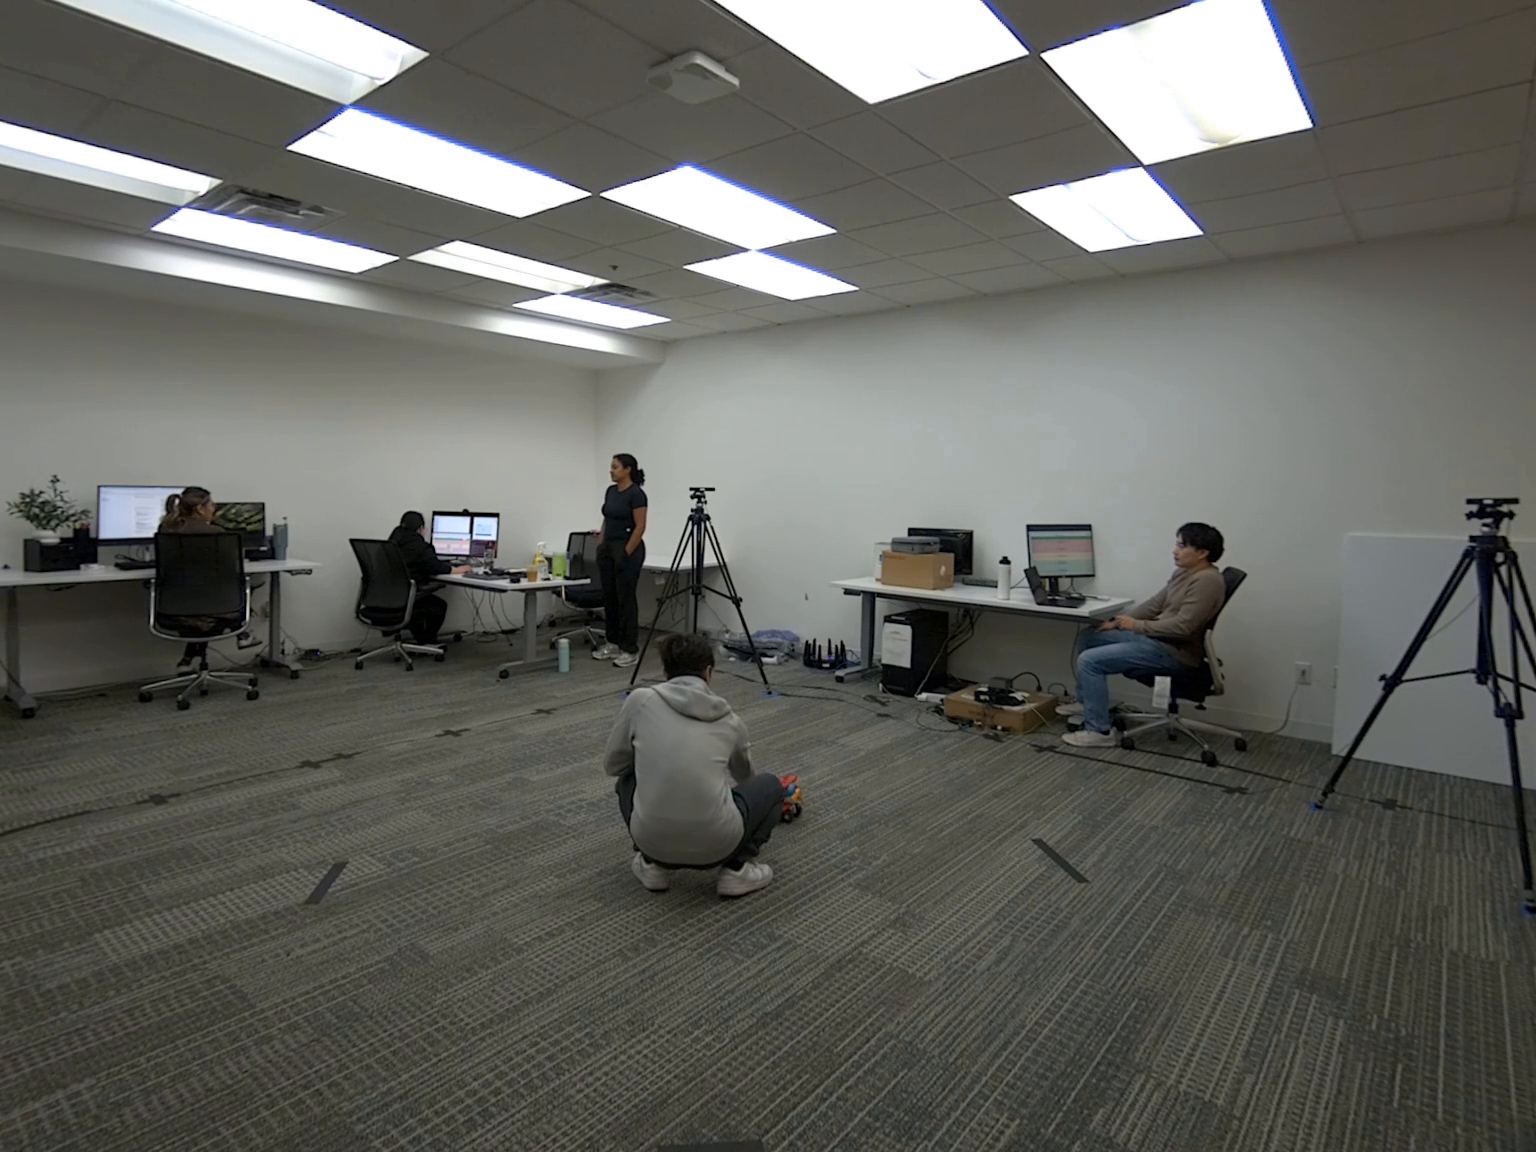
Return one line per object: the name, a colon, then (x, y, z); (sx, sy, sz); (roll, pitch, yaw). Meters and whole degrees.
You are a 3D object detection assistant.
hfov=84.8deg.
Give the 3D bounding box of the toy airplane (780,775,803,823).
toy airplane: (0.008, 0.952, 3.618); (0.259, 0.156, 0.252); (1, 5, -1)
